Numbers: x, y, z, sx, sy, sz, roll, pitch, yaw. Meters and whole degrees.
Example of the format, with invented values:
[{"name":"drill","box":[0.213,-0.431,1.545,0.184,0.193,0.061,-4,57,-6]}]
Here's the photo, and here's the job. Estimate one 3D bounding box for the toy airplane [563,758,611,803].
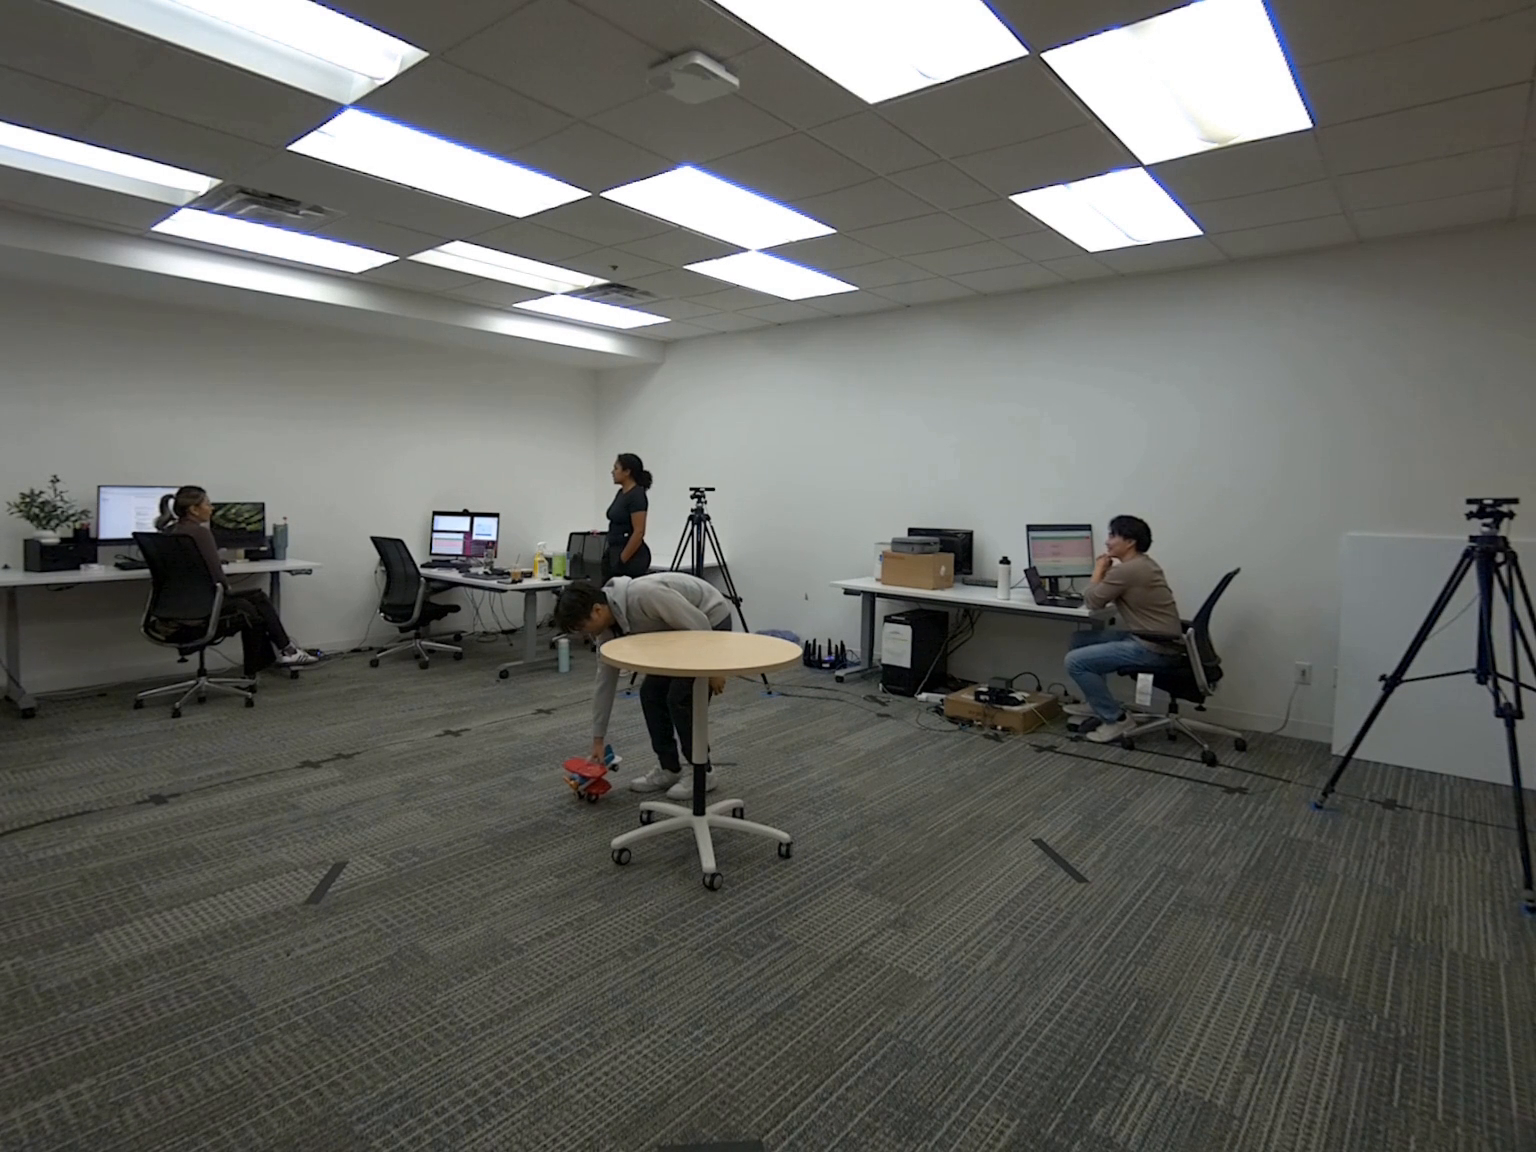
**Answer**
[{"name":"toy airplane","box":[-0.805,0.879,3.817,0.254,0.151,0.264,-13,31,17]}]
